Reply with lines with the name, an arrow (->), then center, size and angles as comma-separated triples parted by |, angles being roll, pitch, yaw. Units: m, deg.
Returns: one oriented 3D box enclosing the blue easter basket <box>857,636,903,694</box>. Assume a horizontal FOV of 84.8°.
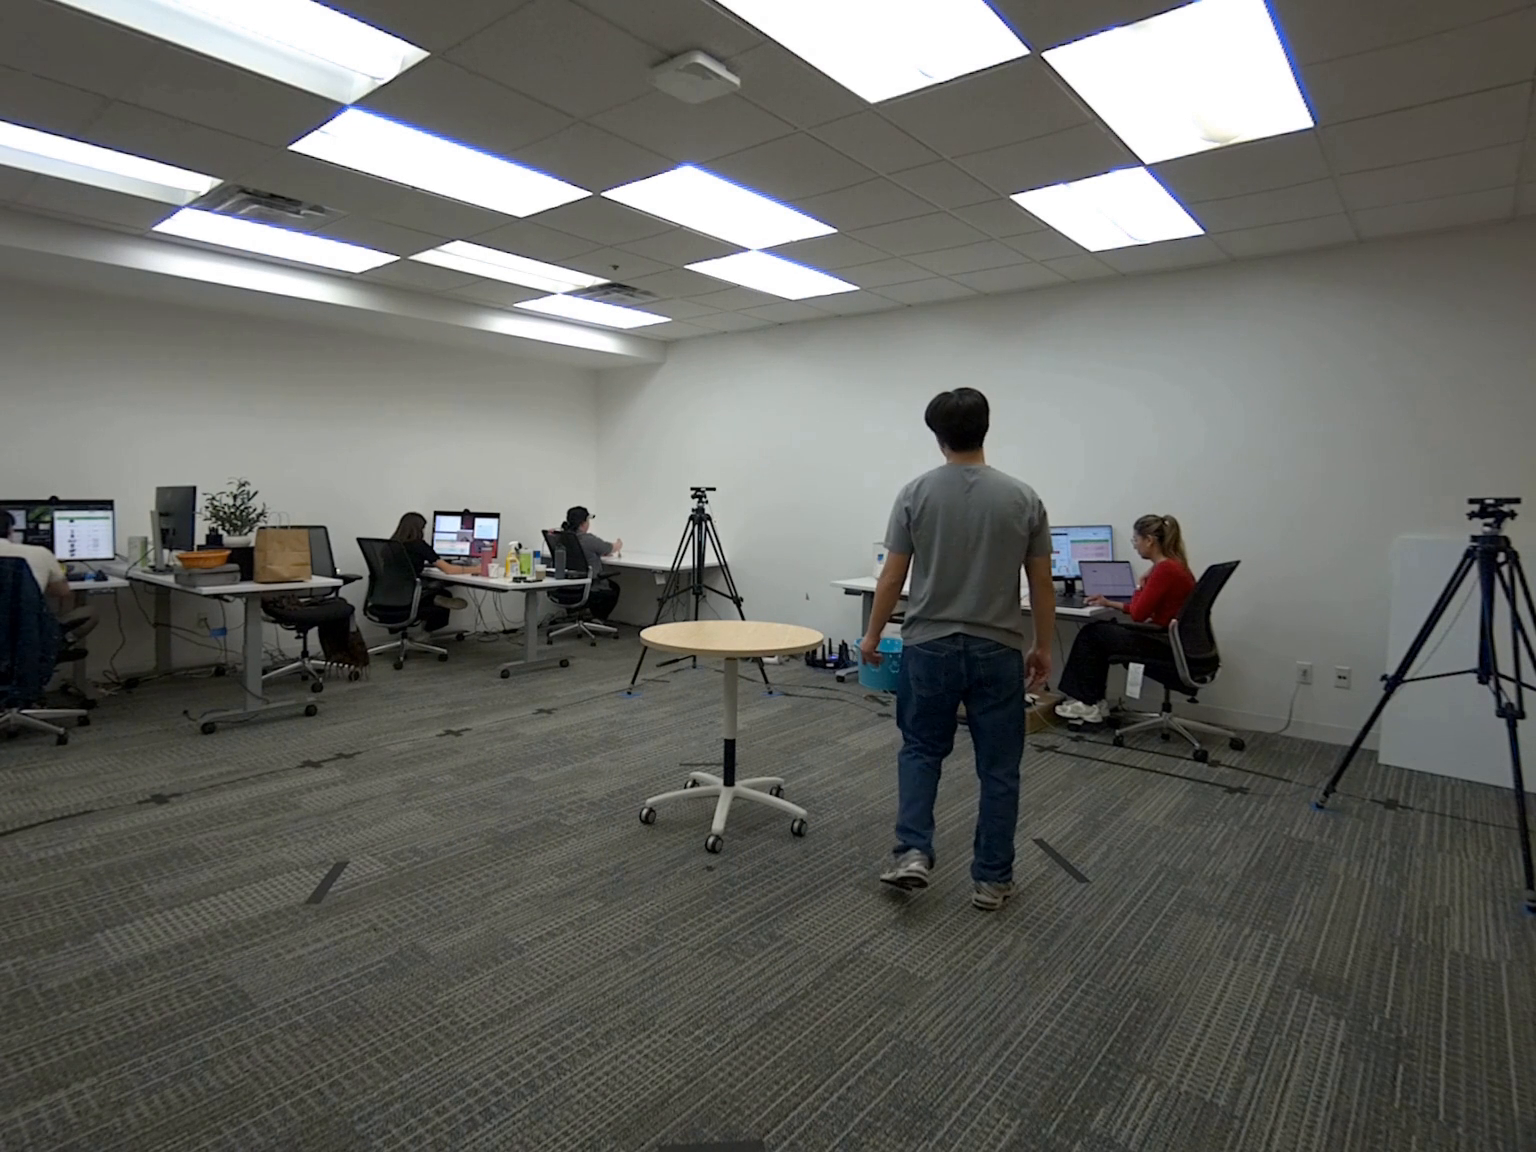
blue easter basket -> 0.445, 0.335, 3.217 | 0.243, 0.155, 0.246 | 2, 8, -2
